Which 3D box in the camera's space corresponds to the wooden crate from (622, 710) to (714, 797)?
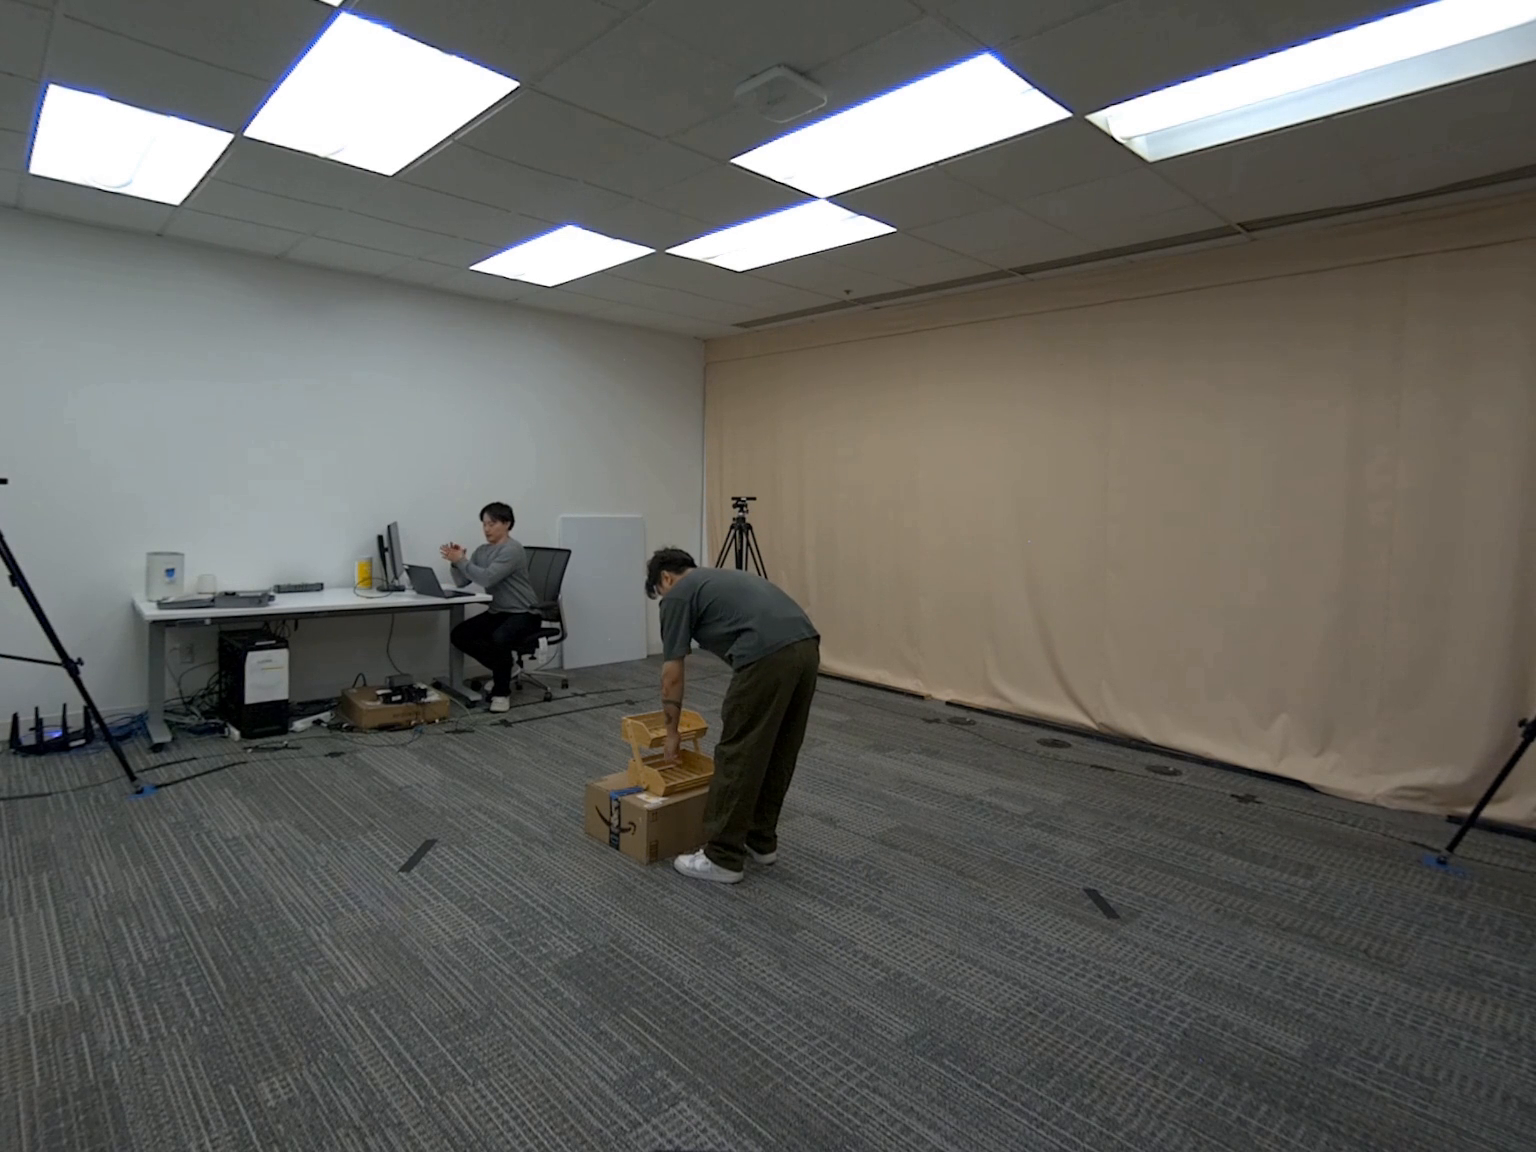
[{"bbox_3d":[-0.412,0.721,3.509,0.317,0.273,0.309,-2,4,-44],"label":"wooden crate"}]
